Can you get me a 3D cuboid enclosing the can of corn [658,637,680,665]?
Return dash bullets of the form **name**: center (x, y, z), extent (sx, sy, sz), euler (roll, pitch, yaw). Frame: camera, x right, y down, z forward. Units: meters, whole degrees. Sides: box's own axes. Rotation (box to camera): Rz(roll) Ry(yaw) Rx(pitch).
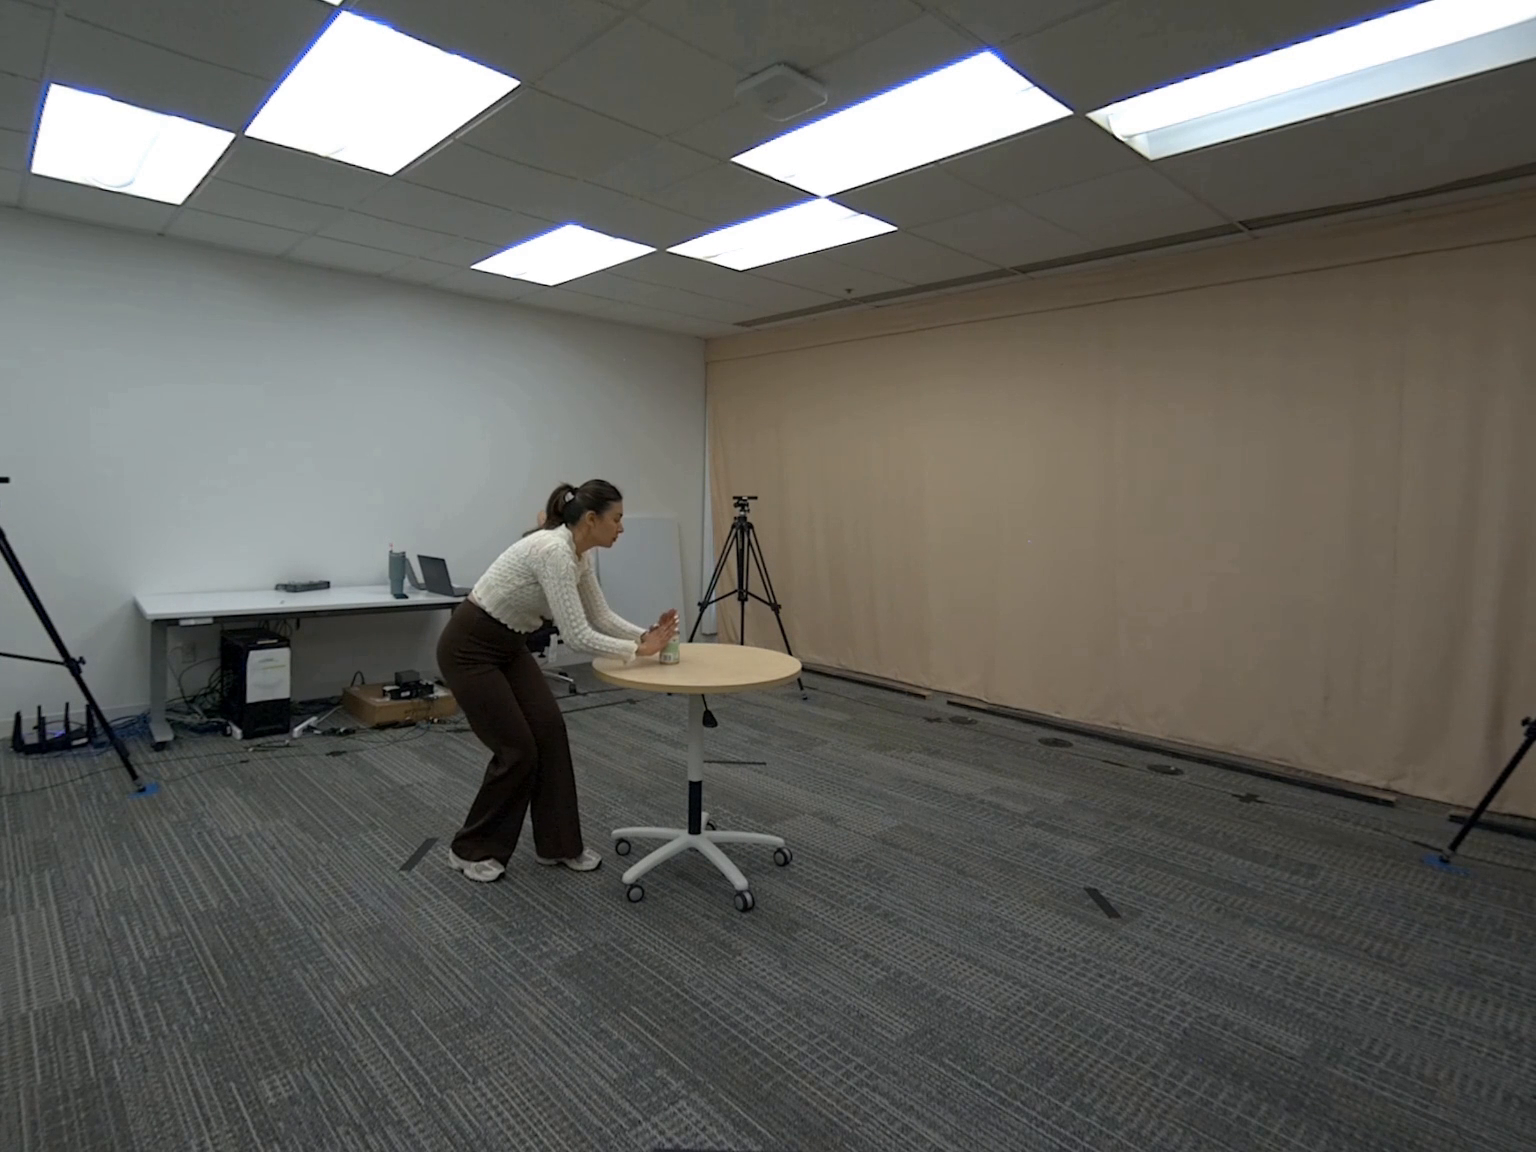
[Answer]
- **can of corn**: center (-0.386, 0.264, 3.066), extent (0.074, 0.111, 0.074), euler (1, 2, -1)
